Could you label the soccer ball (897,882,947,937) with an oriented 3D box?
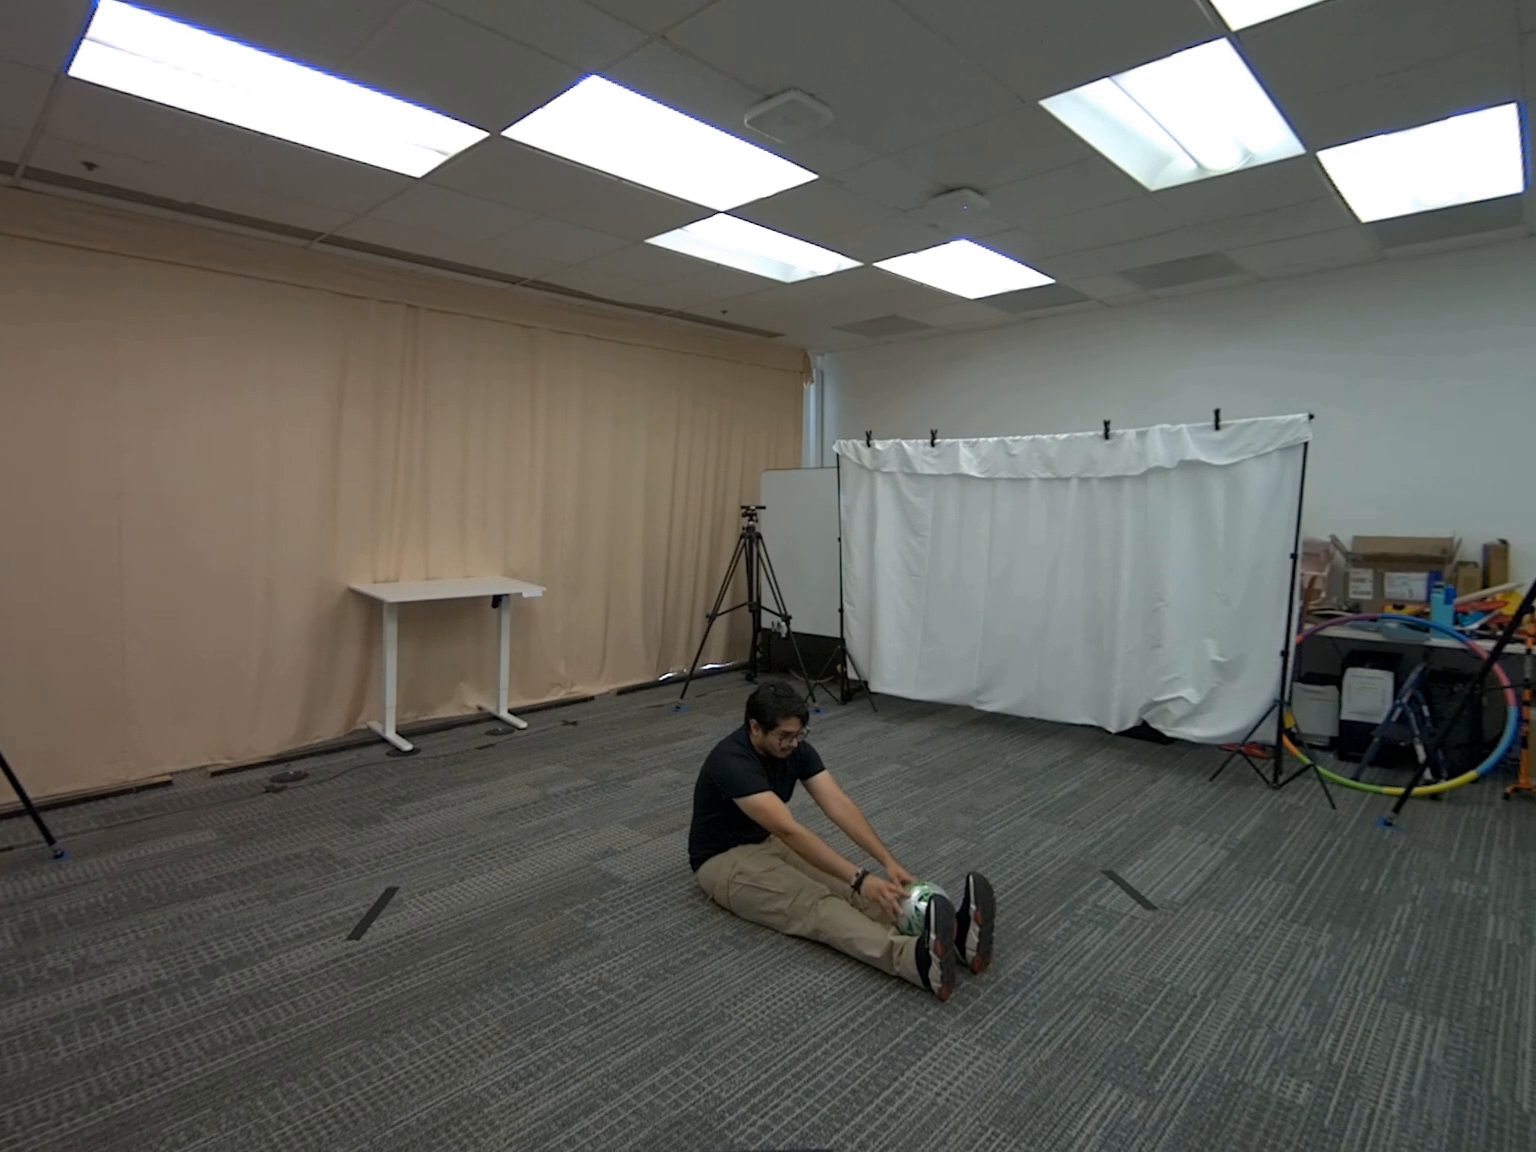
[{"bbox_3d":[0.495,1.029,2.519,0.187,0.187,0.188,0,4,-2],"label":"soccer ball"}]
